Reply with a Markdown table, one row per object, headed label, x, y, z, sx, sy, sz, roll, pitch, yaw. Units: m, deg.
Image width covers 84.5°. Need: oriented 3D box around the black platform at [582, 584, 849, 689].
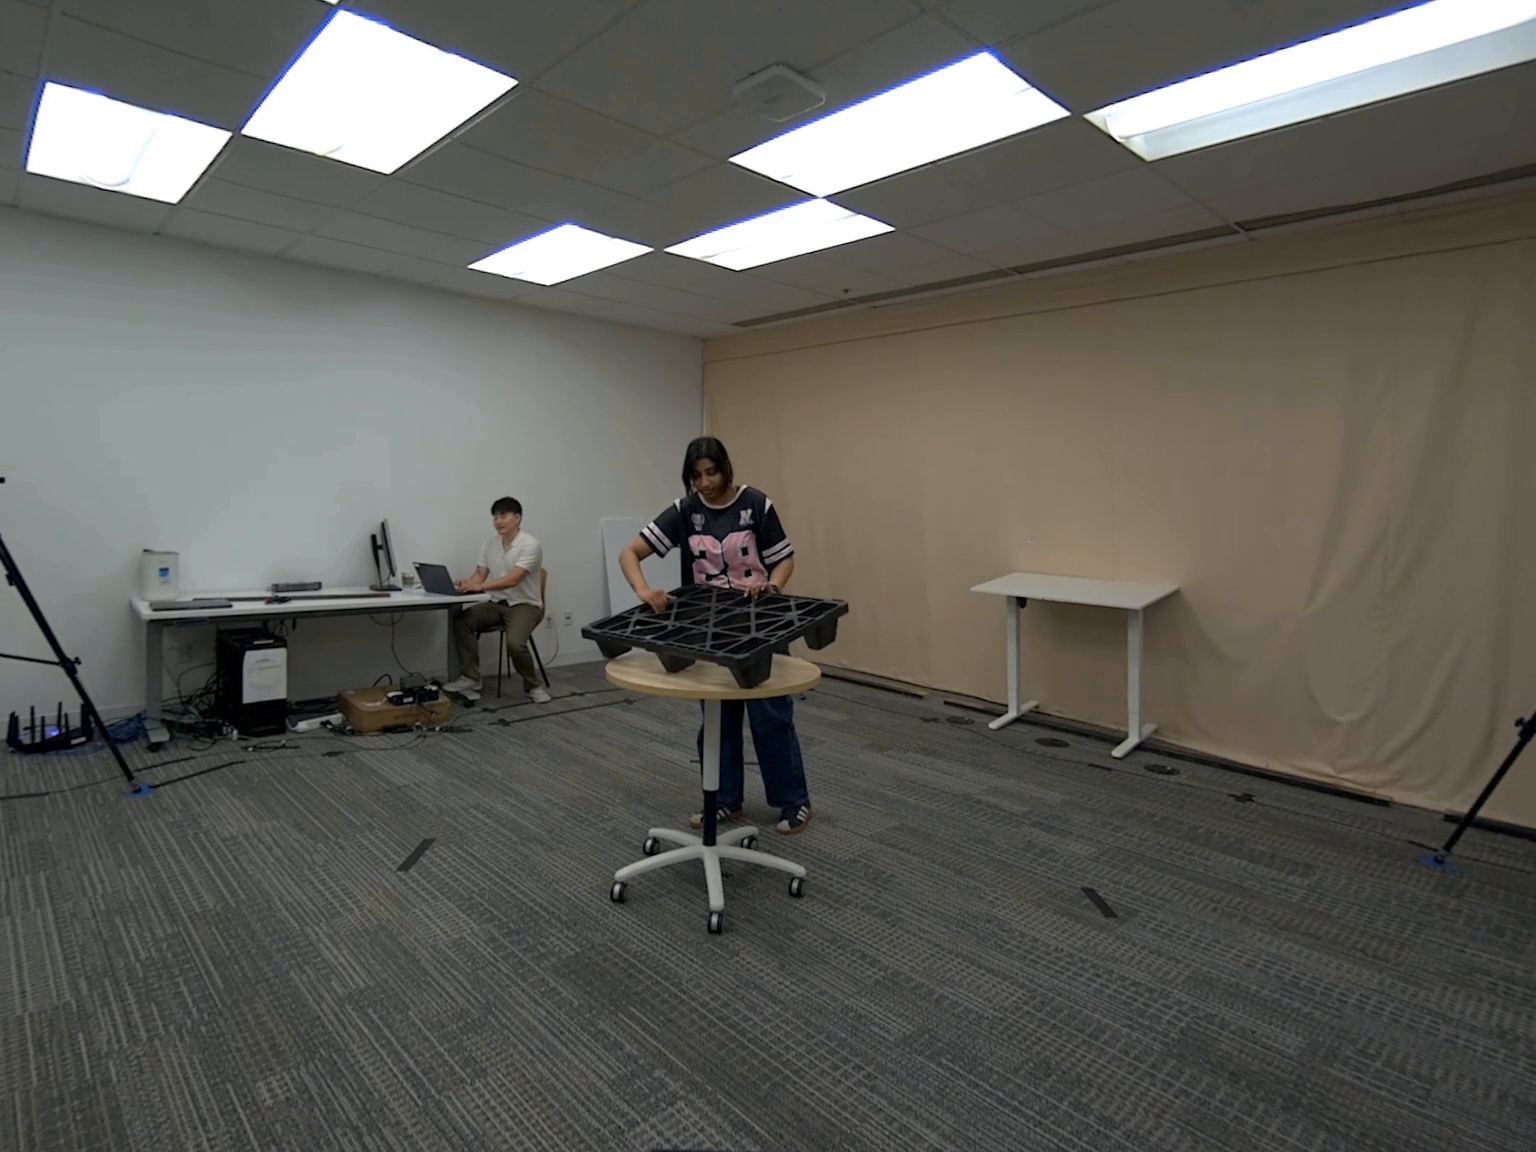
| label | x | y | z | sx | sy | sz | roll | pitch | yaw |
| --- | --- | --- | --- | --- | --- | --- | --- | --- | --- |
| black platform | -0.206 | 0.206 | 3.053 | 0.826 | 0.142 | 0.596 | 6 | 19 | 42 |
